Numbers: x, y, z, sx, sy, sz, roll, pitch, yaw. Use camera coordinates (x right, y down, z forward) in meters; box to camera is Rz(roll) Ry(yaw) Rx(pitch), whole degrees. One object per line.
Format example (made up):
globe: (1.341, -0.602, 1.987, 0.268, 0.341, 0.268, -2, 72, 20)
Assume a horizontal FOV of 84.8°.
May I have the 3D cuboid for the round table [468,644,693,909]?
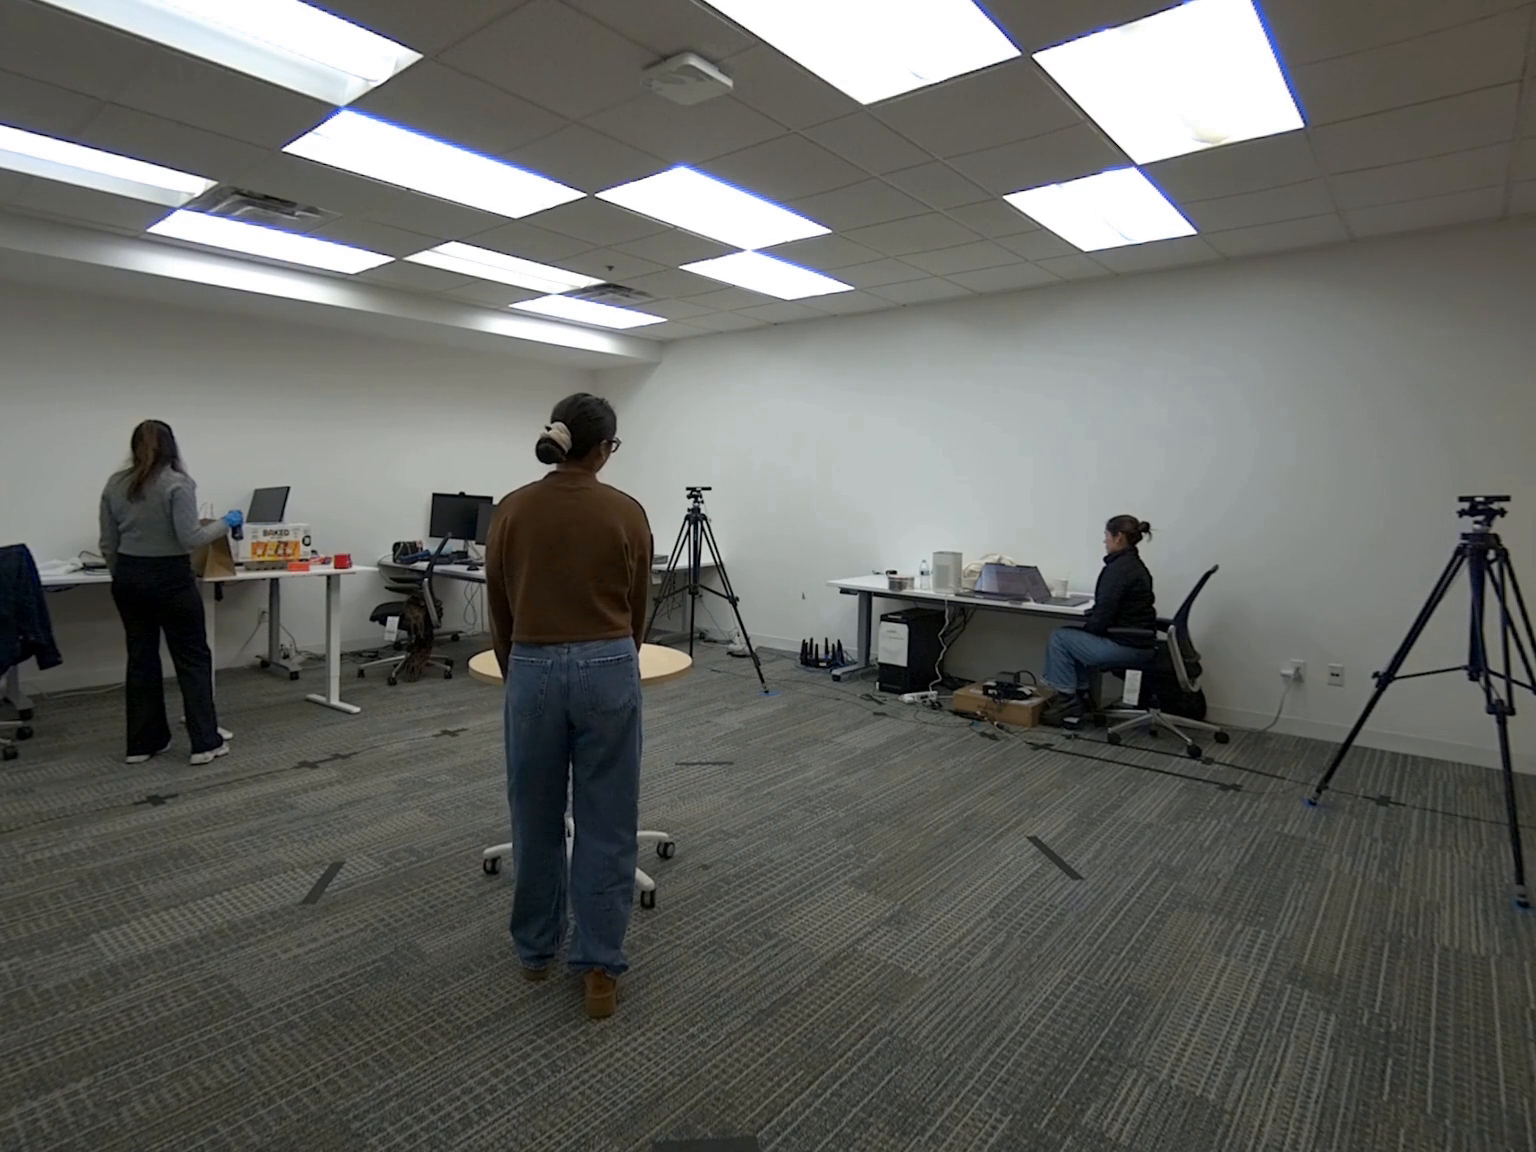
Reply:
round table: (-0.660, 0.681, 2.990, 0.763, 0.792, 0.767, 0, 4, -2)
